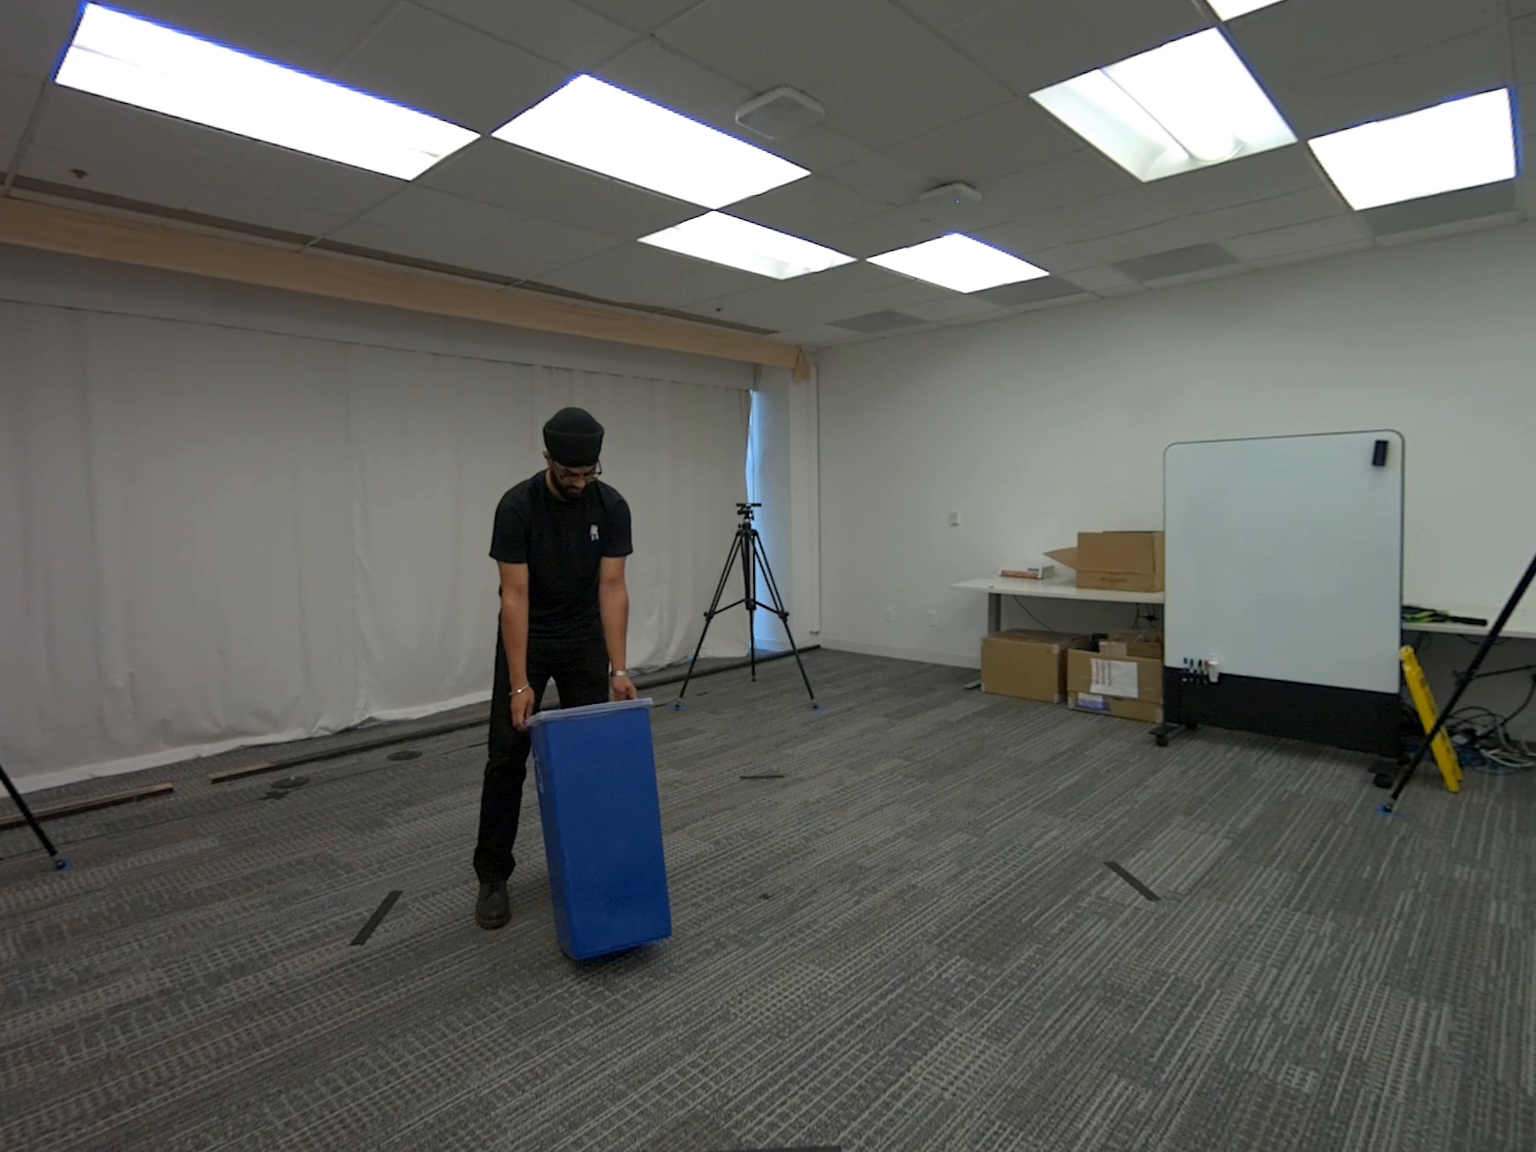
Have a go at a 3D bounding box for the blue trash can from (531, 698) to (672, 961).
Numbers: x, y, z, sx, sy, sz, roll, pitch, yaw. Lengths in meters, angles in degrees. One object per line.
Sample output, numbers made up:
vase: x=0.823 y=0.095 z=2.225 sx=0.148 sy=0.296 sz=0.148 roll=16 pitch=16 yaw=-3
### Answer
blue trash can: x=-0.541 y=0.788 z=2.694 sx=0.370 sy=0.721 sz=0.379 roll=-3 pitch=-14 yaw=-24
